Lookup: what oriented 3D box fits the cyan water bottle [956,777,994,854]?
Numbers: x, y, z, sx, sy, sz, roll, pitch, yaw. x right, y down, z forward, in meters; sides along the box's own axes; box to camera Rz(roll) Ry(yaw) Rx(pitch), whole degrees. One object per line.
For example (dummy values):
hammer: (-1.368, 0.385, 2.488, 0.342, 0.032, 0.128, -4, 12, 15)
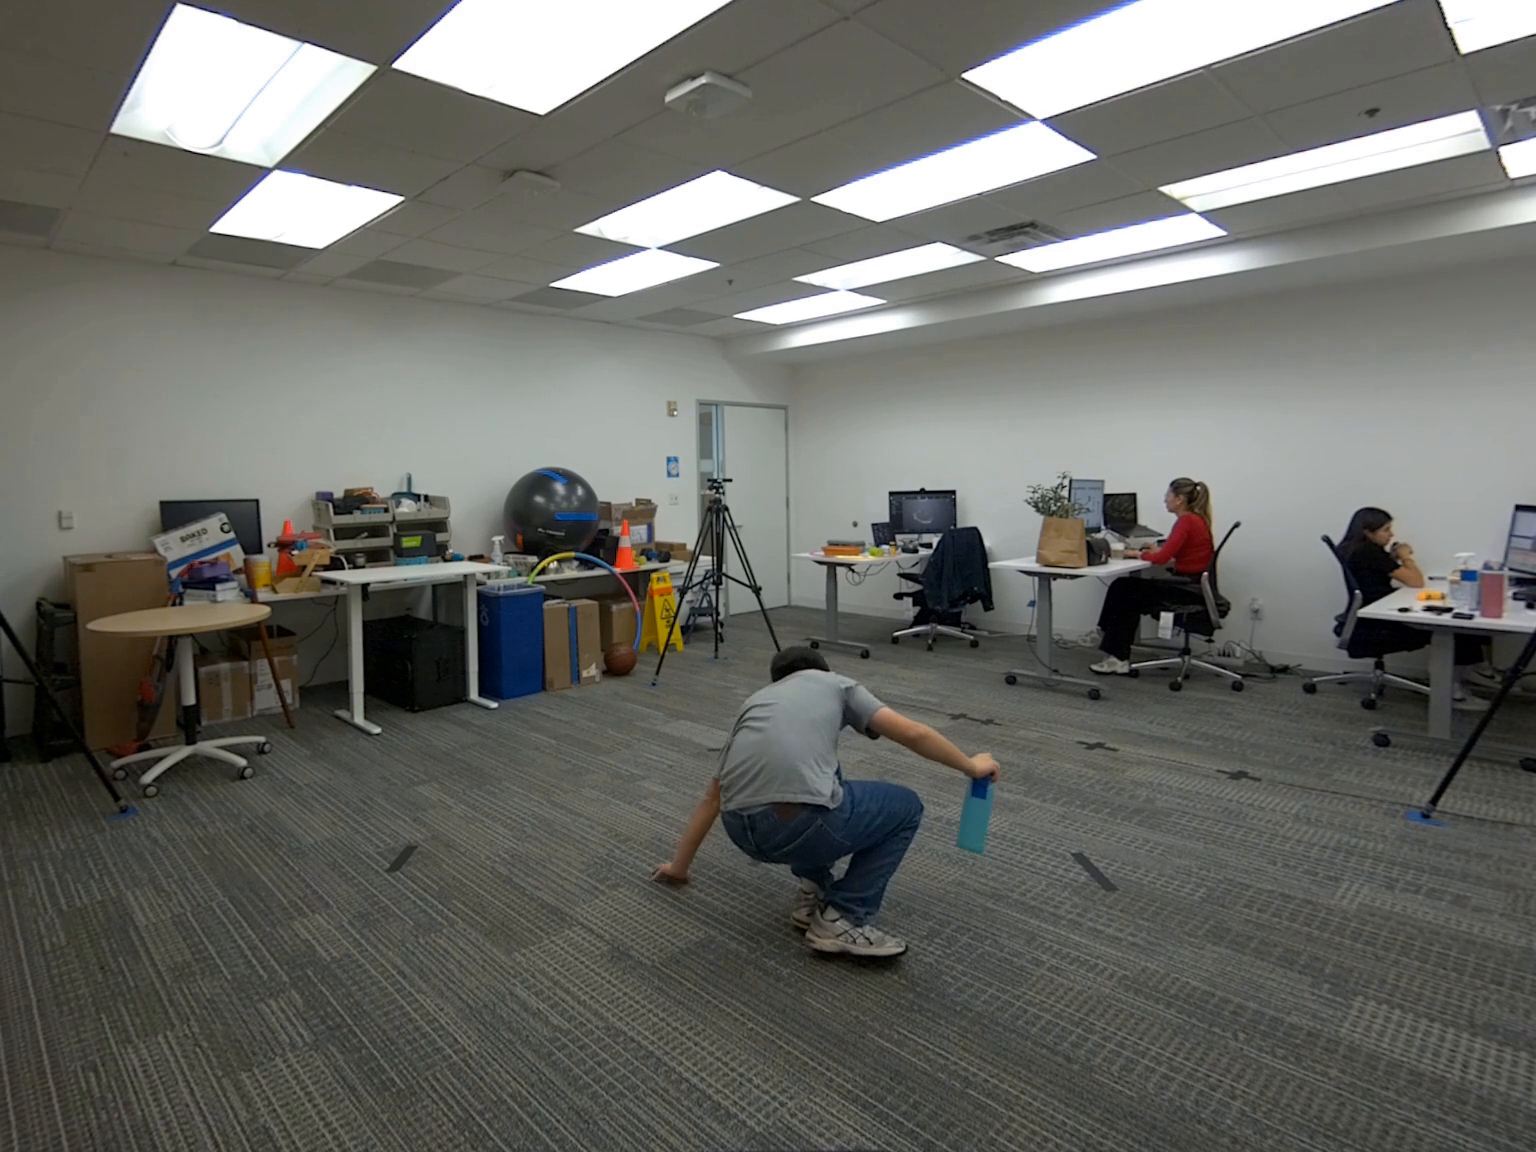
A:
cyan water bottle: (0.676, 0.726, 2.772, 0.092, 0.283, 0.092, 9, 1, -2)
